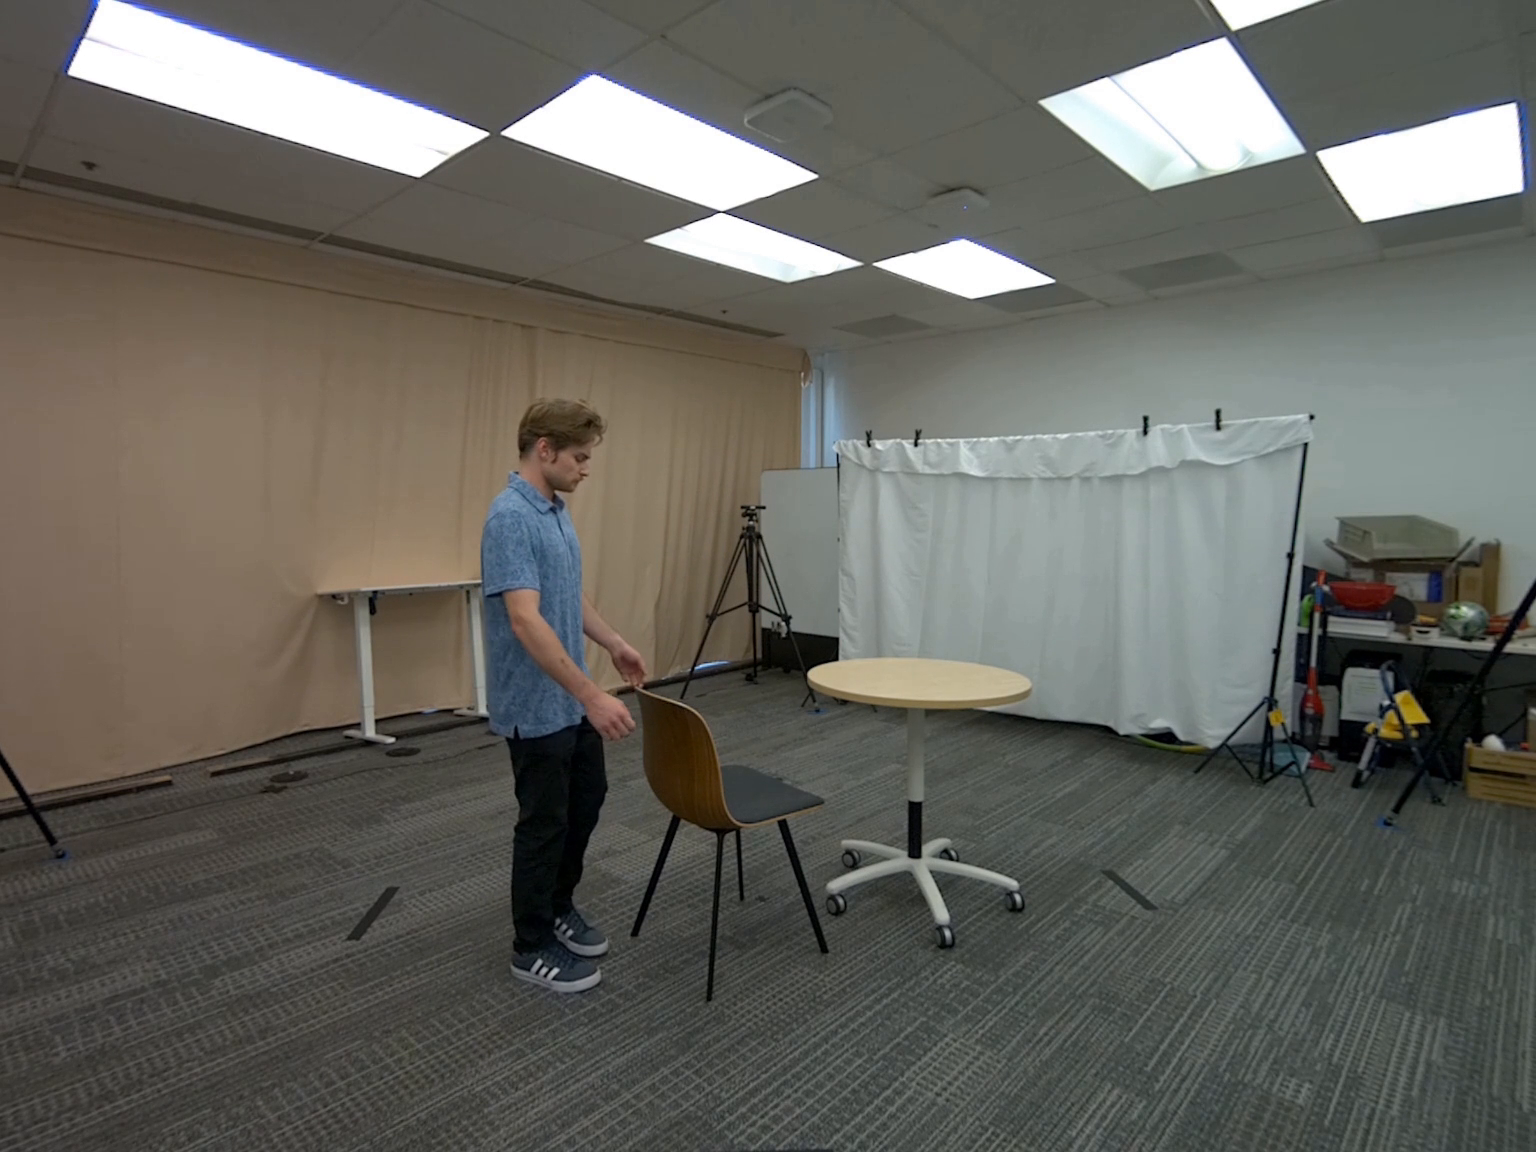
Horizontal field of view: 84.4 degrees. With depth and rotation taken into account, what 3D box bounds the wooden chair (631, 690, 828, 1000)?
[{"bbox_3d":[-0.123,0.745,2.649,0.509,0.874,0.493,-8,7,-37],"label":"wooden chair"}]
